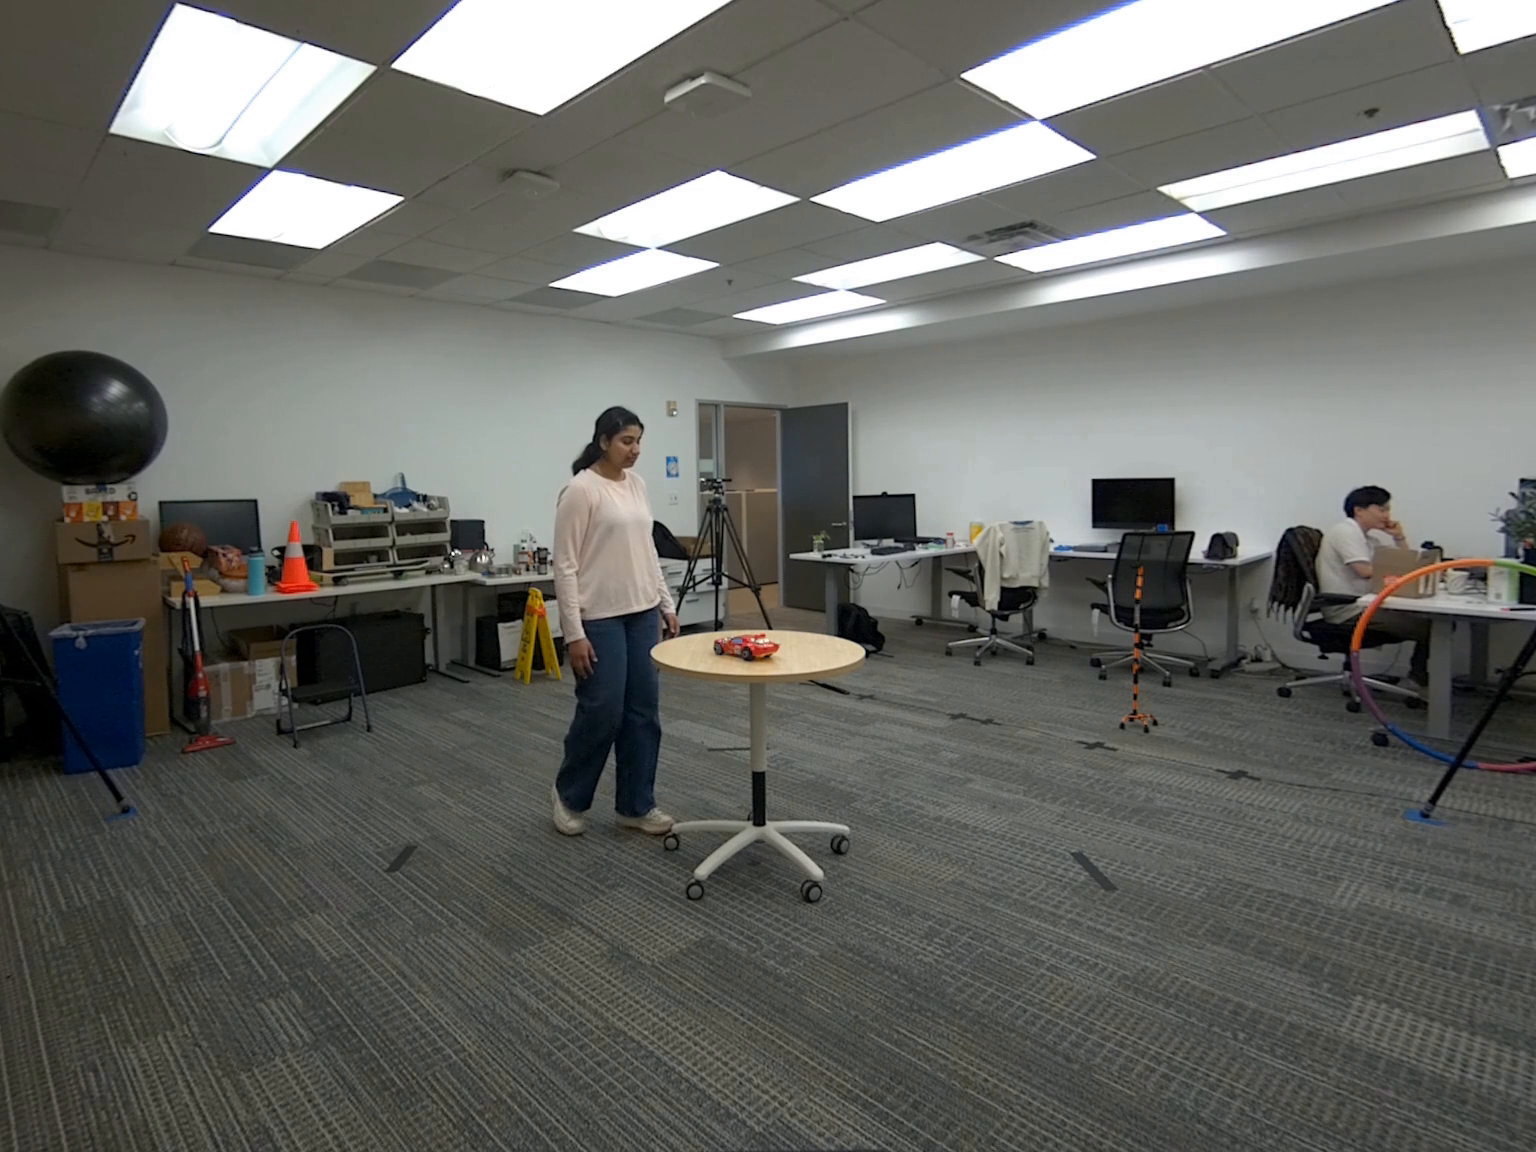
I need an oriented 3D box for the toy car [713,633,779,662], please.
[{"bbox_3d":[-0.071,0.246,2.955,0.127,0.083,0.260,-6,-3,-44],"label":"toy car"}]
